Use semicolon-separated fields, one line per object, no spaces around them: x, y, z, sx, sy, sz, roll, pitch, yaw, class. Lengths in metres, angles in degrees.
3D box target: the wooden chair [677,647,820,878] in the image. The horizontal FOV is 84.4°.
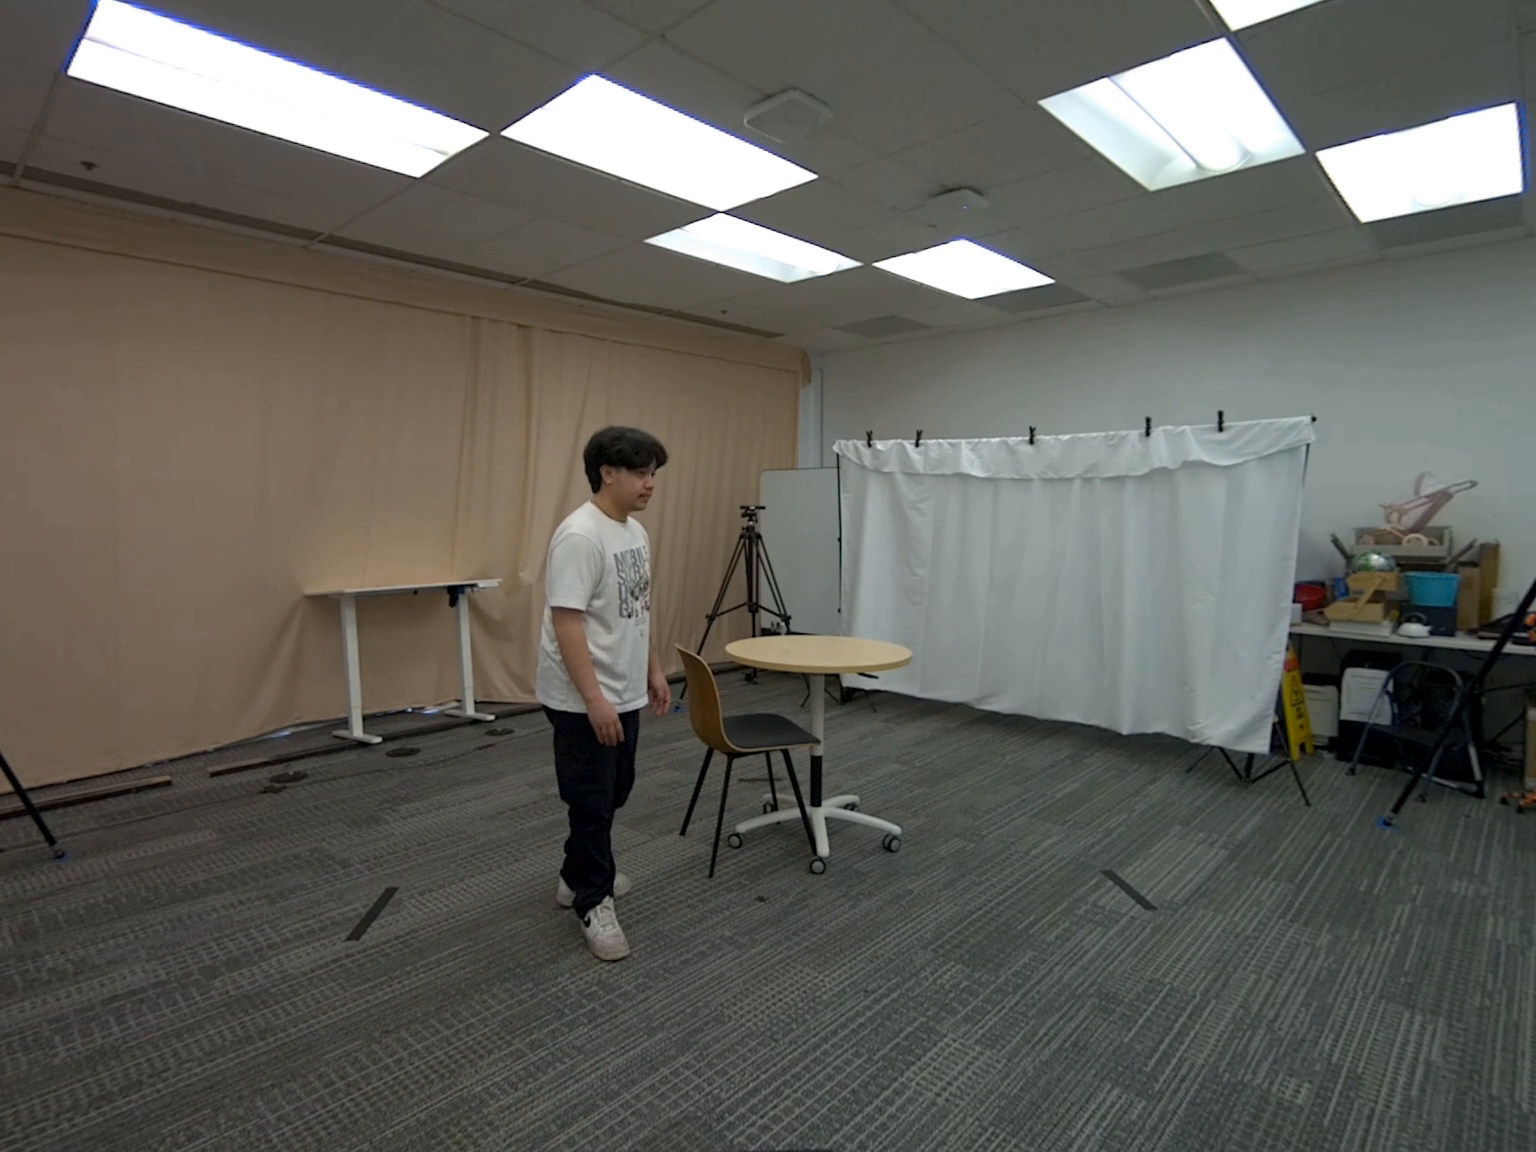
-0.079;0.682;3.392;0.514;0.875;0.488;-6;4;-18;wooden chair
